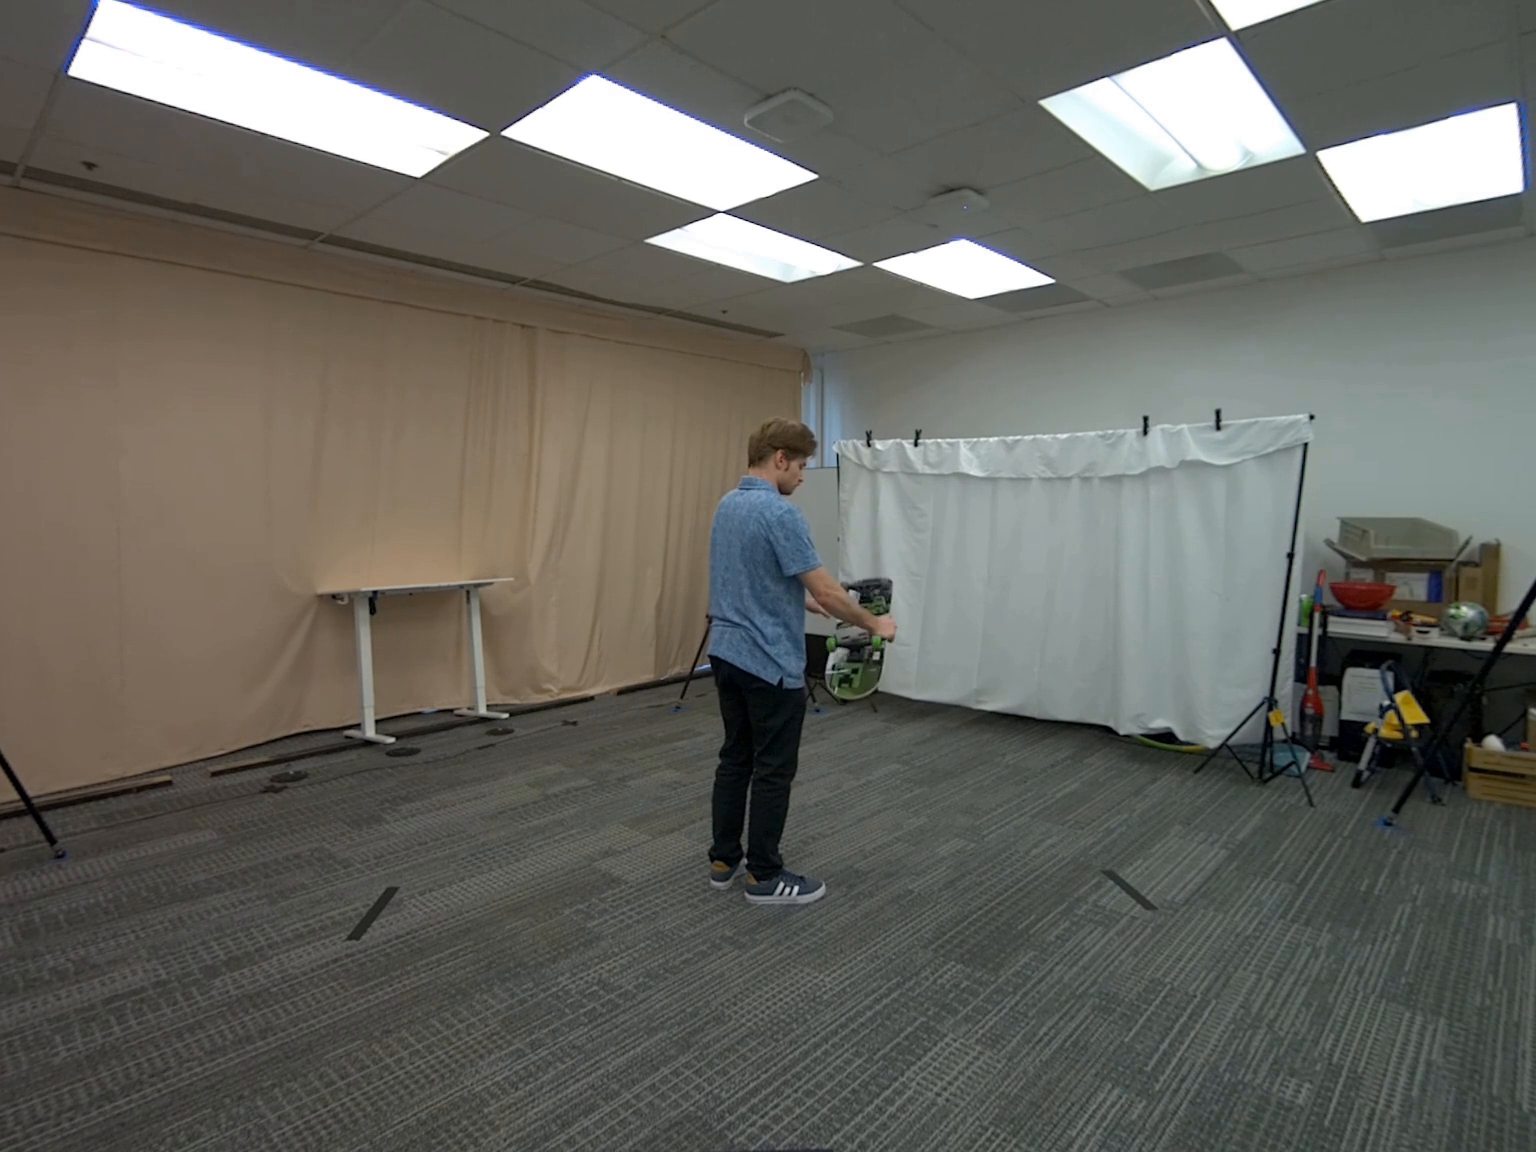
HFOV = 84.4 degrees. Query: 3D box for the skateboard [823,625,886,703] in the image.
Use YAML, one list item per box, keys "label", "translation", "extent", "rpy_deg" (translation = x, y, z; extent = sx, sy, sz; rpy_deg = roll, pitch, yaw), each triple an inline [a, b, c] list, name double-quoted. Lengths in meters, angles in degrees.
- label: "skateboard"
  translation: [0.340, 0.168, 3.034]
  extent: [0.197, 0.108, 0.787]
  rpy_deg: [-6, 28, 17]
